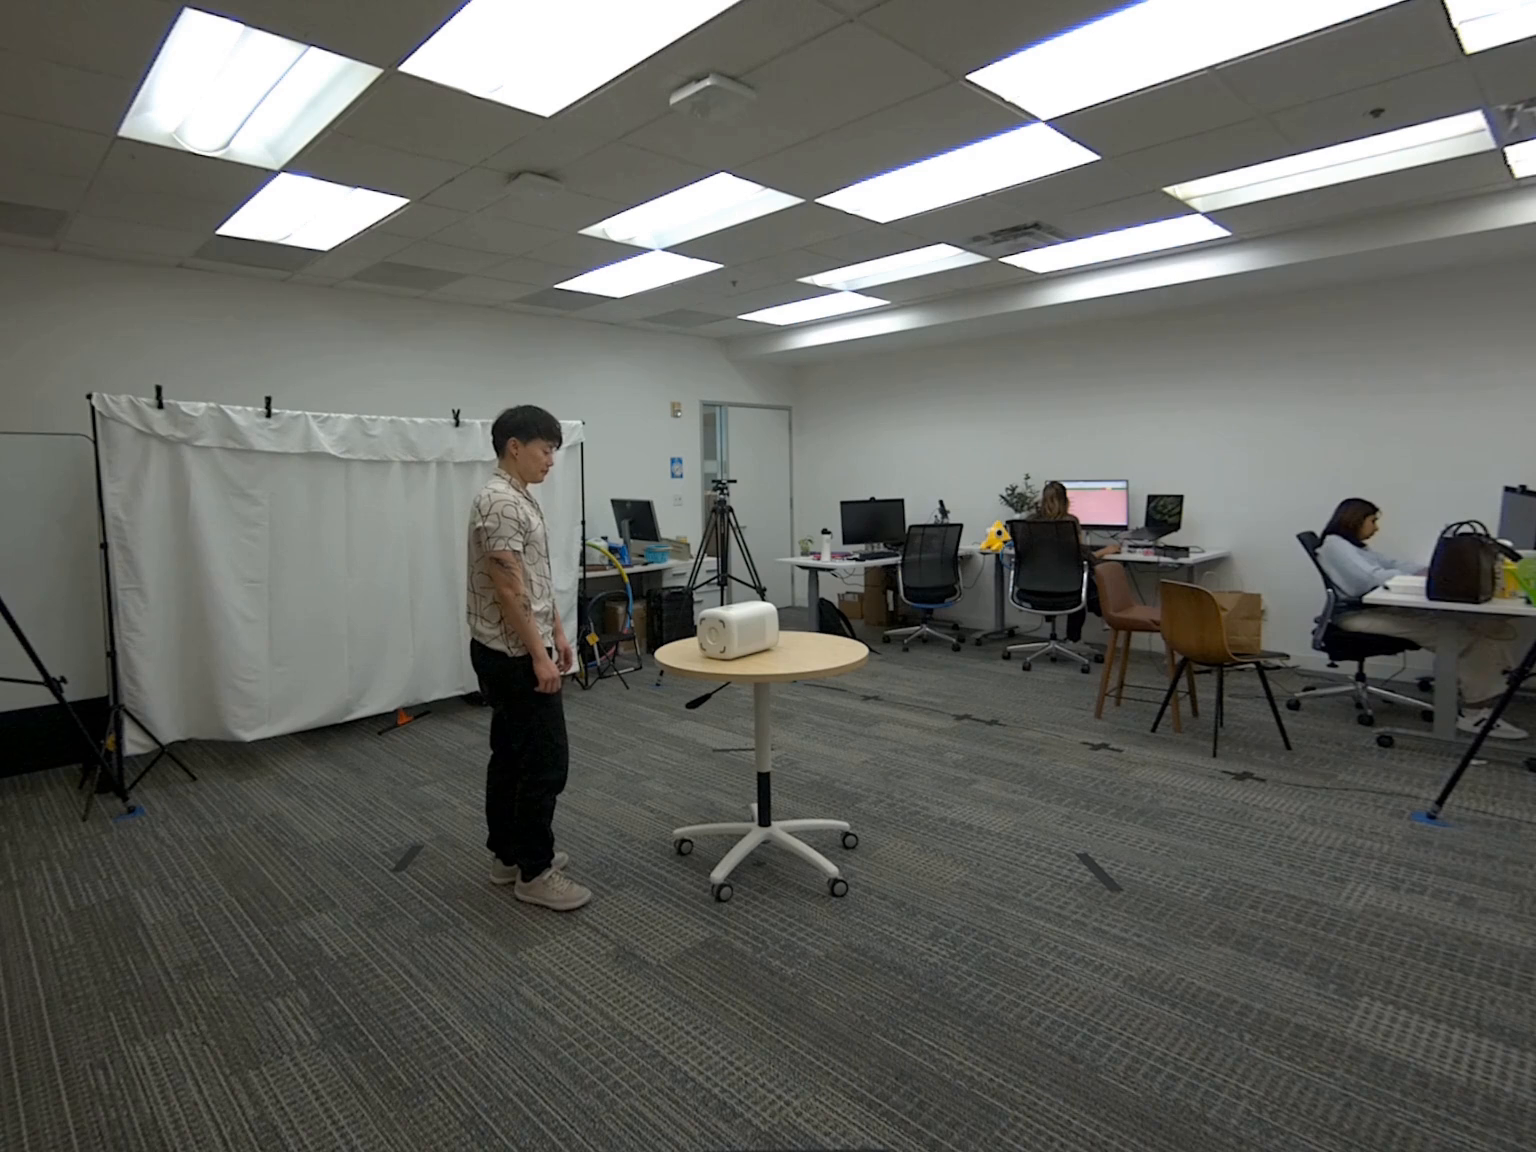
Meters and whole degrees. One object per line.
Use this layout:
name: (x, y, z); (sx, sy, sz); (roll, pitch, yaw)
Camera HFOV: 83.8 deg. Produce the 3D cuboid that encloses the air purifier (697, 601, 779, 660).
air purifier: (-0.107, 0.184, 3.012); (0.176, 0.171, 0.259); (4, 8, 39)
